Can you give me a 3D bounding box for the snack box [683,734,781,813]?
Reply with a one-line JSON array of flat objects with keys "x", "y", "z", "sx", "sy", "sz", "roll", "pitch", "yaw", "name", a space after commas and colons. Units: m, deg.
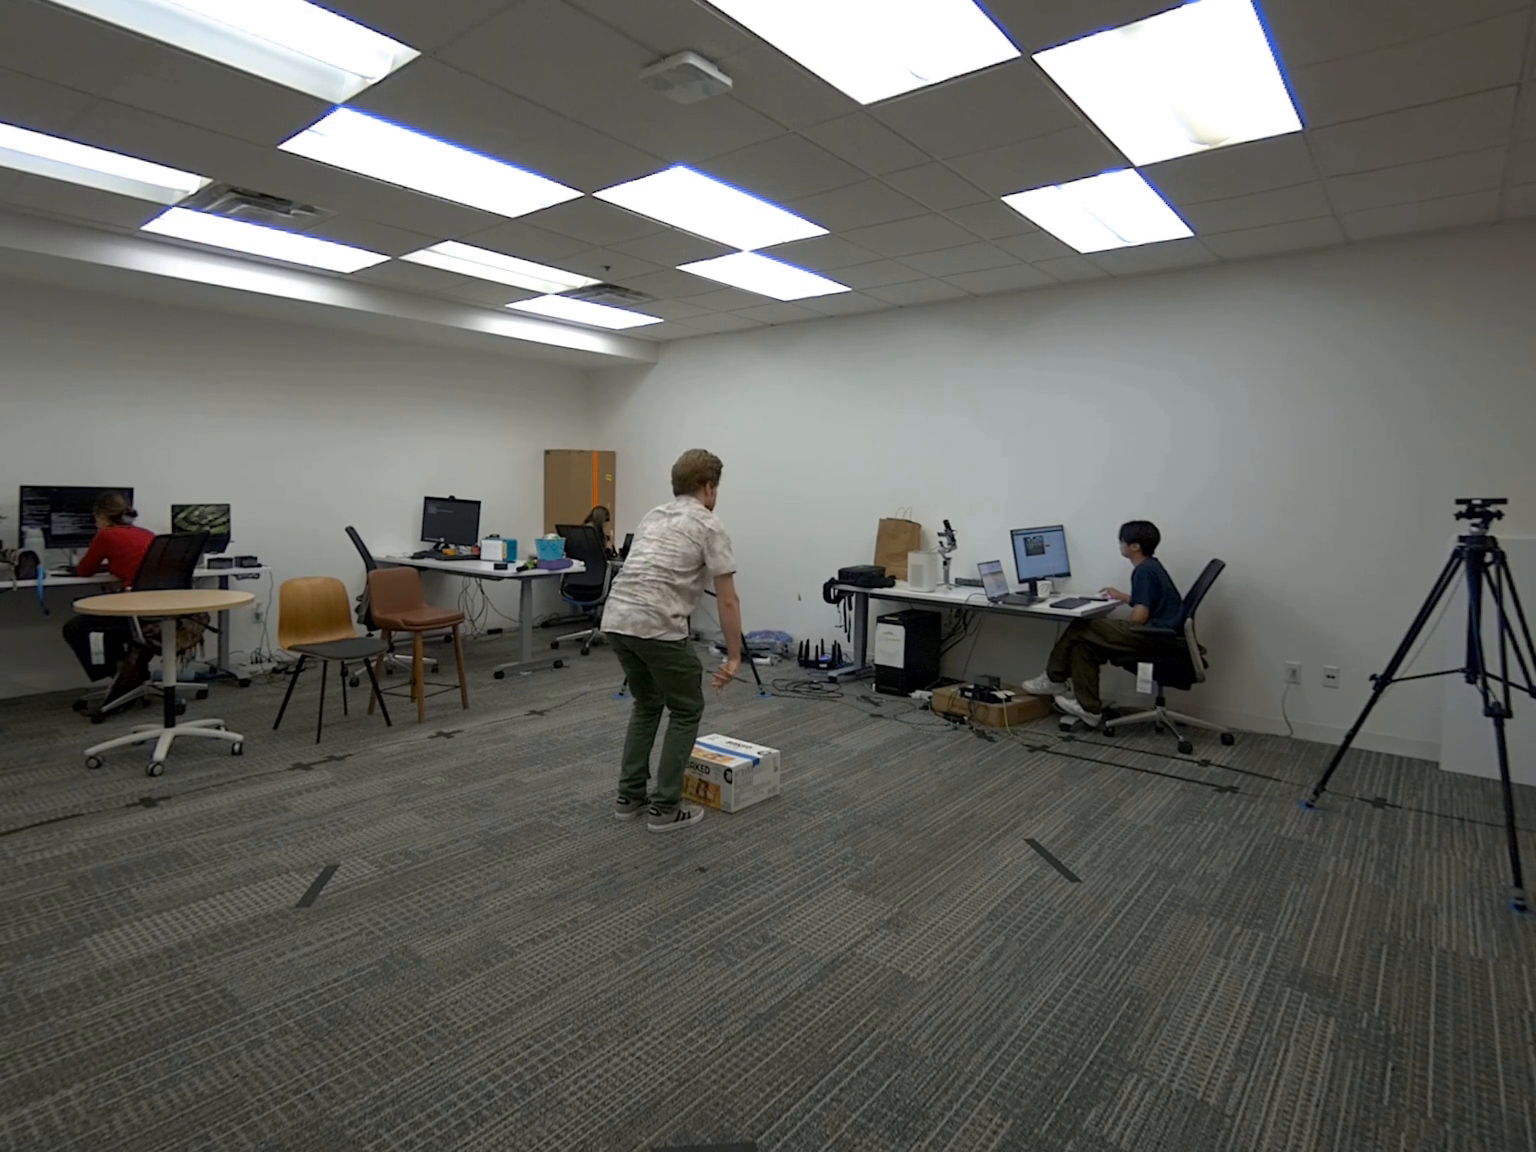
[{"x": -0.222, "y": 0.891, "z": 3.905, "sx": 0.419, "sy": 0.205, "sz": 0.330, "roll": 4, "pitch": 6, "yaw": 39, "name": "snack box"}]
